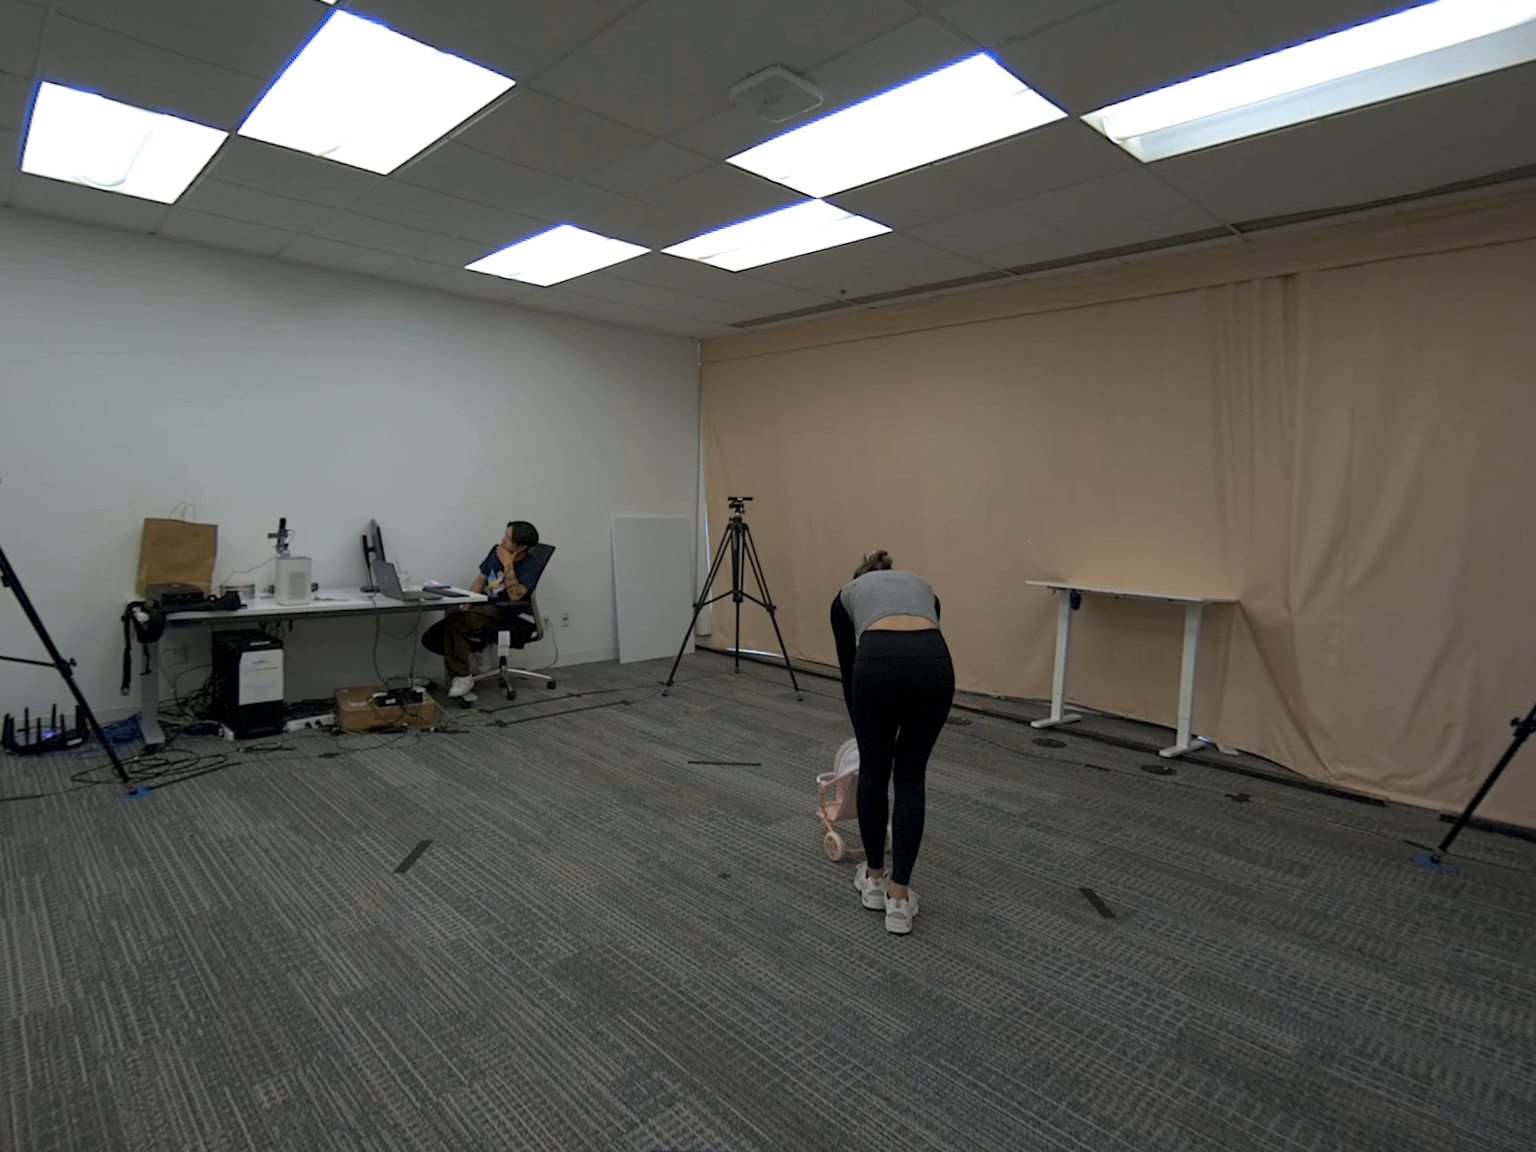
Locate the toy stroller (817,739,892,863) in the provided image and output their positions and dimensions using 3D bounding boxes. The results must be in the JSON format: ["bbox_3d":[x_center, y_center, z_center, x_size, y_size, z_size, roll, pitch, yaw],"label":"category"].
[{"bbox_3d":[0.334,0.871,3.360,0.277,0.529,0.351,0,20,-23],"label":"toy stroller"}]
